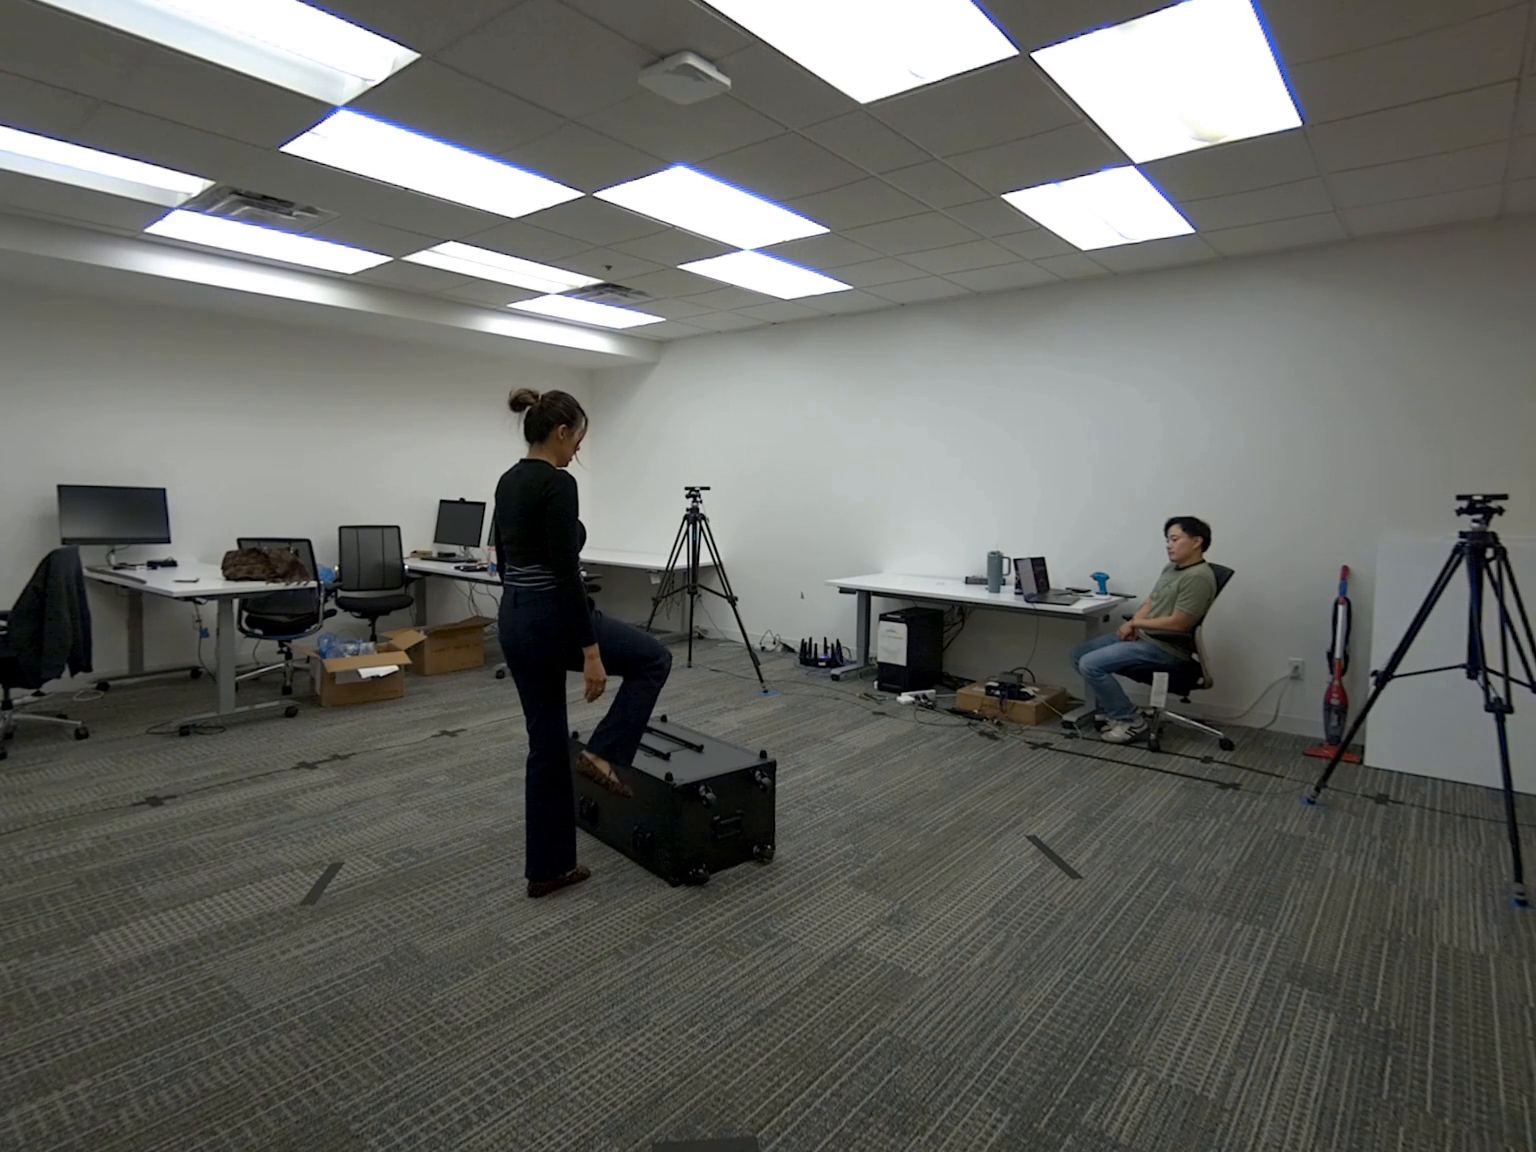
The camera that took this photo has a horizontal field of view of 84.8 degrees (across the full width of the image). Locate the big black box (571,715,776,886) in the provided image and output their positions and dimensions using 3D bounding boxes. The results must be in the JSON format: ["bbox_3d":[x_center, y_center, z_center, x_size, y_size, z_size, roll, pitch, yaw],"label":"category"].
[{"bbox_3d":[-0.436,0.858,3.412,0.505,0.395,0.891,-3,6,-41],"label":"big black box"}]
